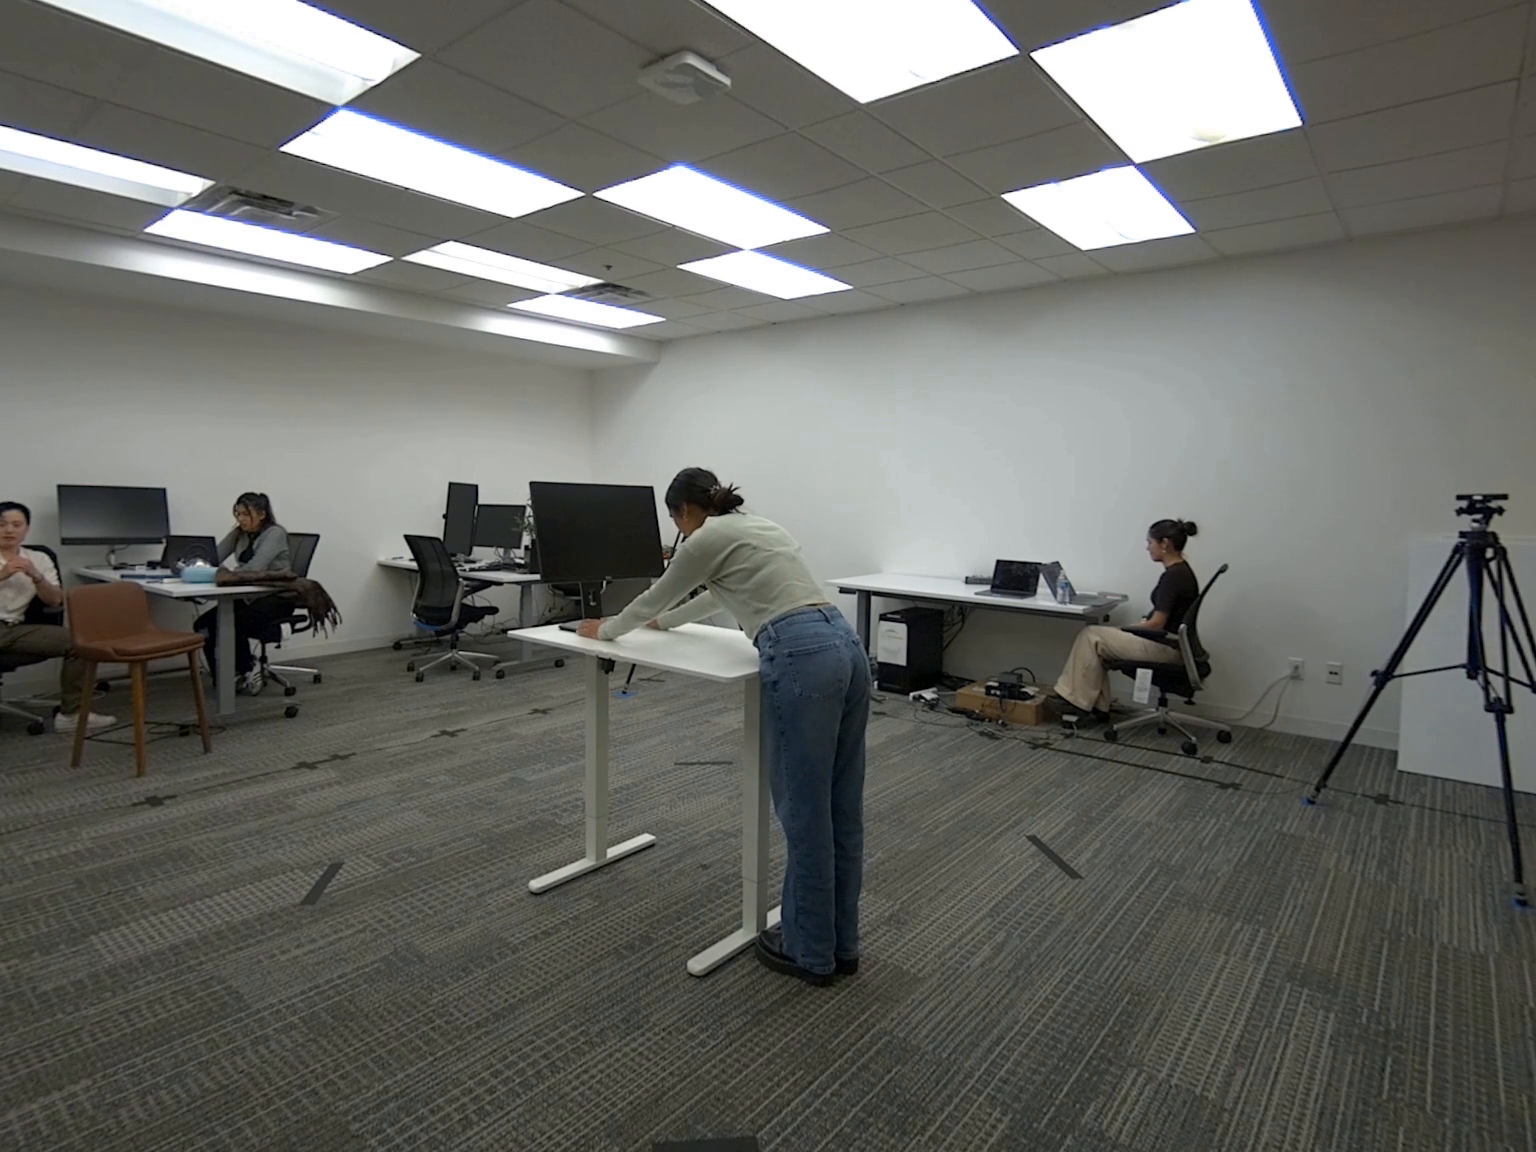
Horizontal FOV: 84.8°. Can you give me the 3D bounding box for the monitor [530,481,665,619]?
[{"bbox_3d":[-0.642,-0.073,3.051,0.193,0.522,0.522,0,1,43],"label":"monitor"}]
